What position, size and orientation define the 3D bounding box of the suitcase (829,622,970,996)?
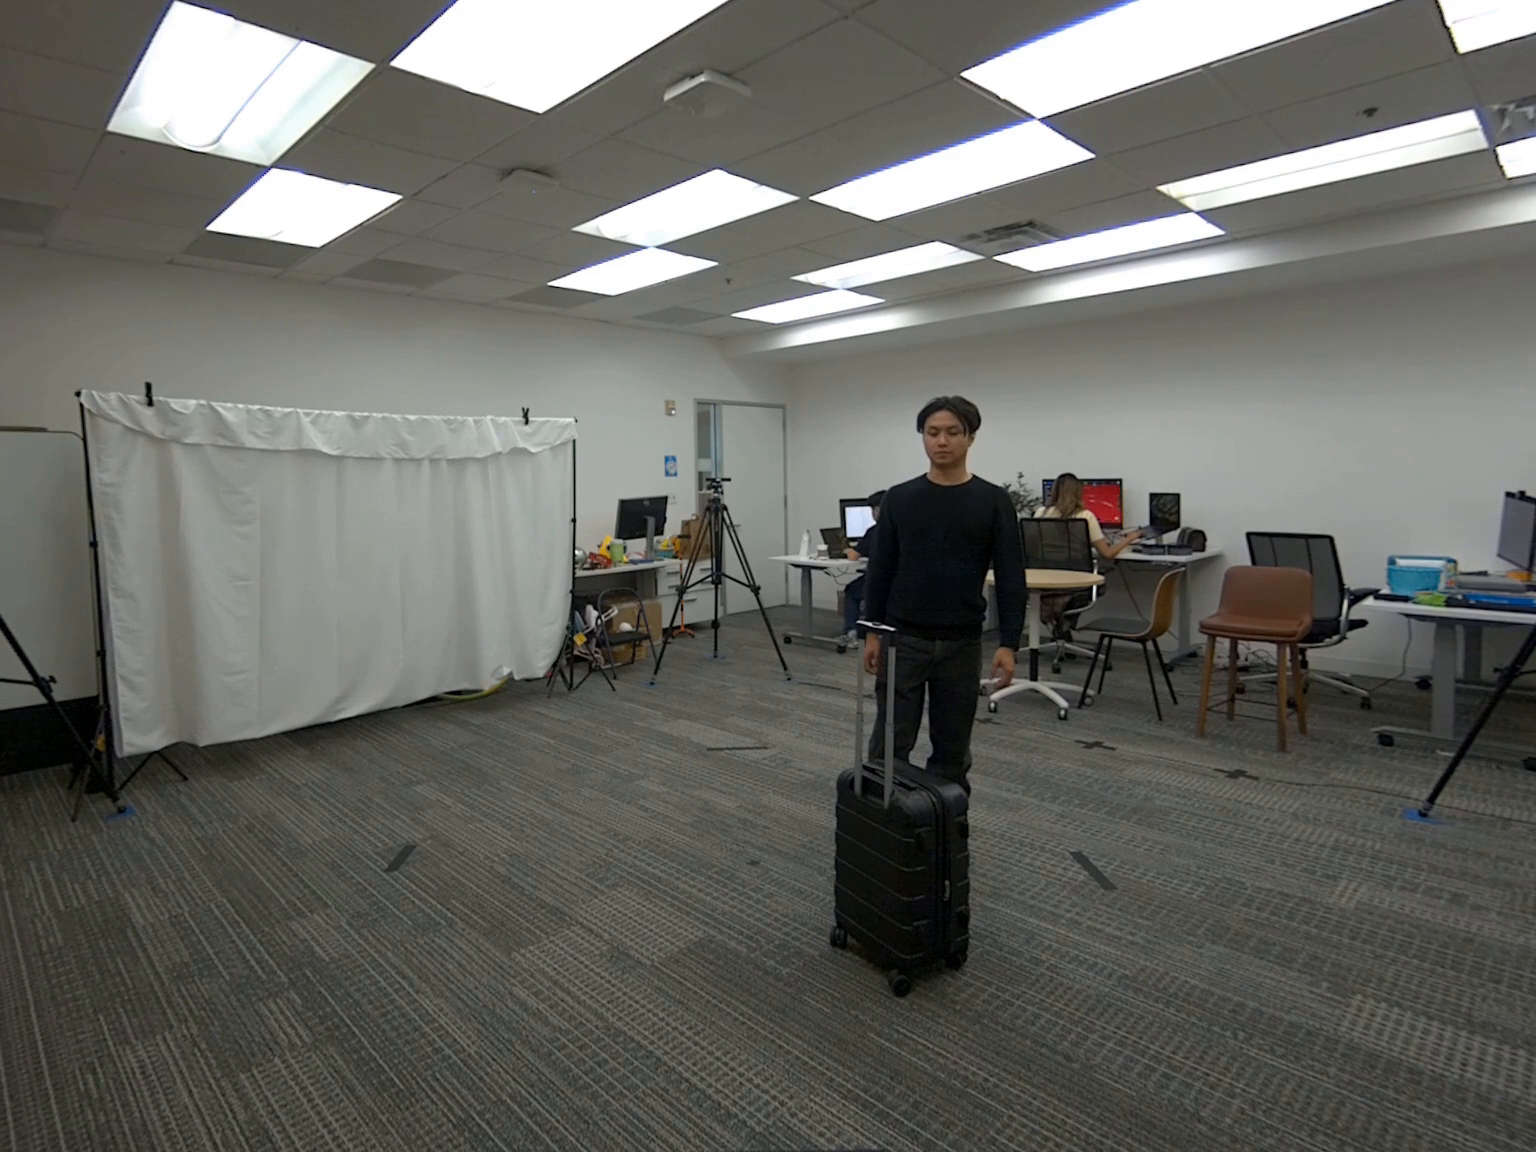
[{"bbox_3d":[0.389,0.633,2.469,0.251,0.977,0.394,1,2,-30],"label":"suitcase"}]
